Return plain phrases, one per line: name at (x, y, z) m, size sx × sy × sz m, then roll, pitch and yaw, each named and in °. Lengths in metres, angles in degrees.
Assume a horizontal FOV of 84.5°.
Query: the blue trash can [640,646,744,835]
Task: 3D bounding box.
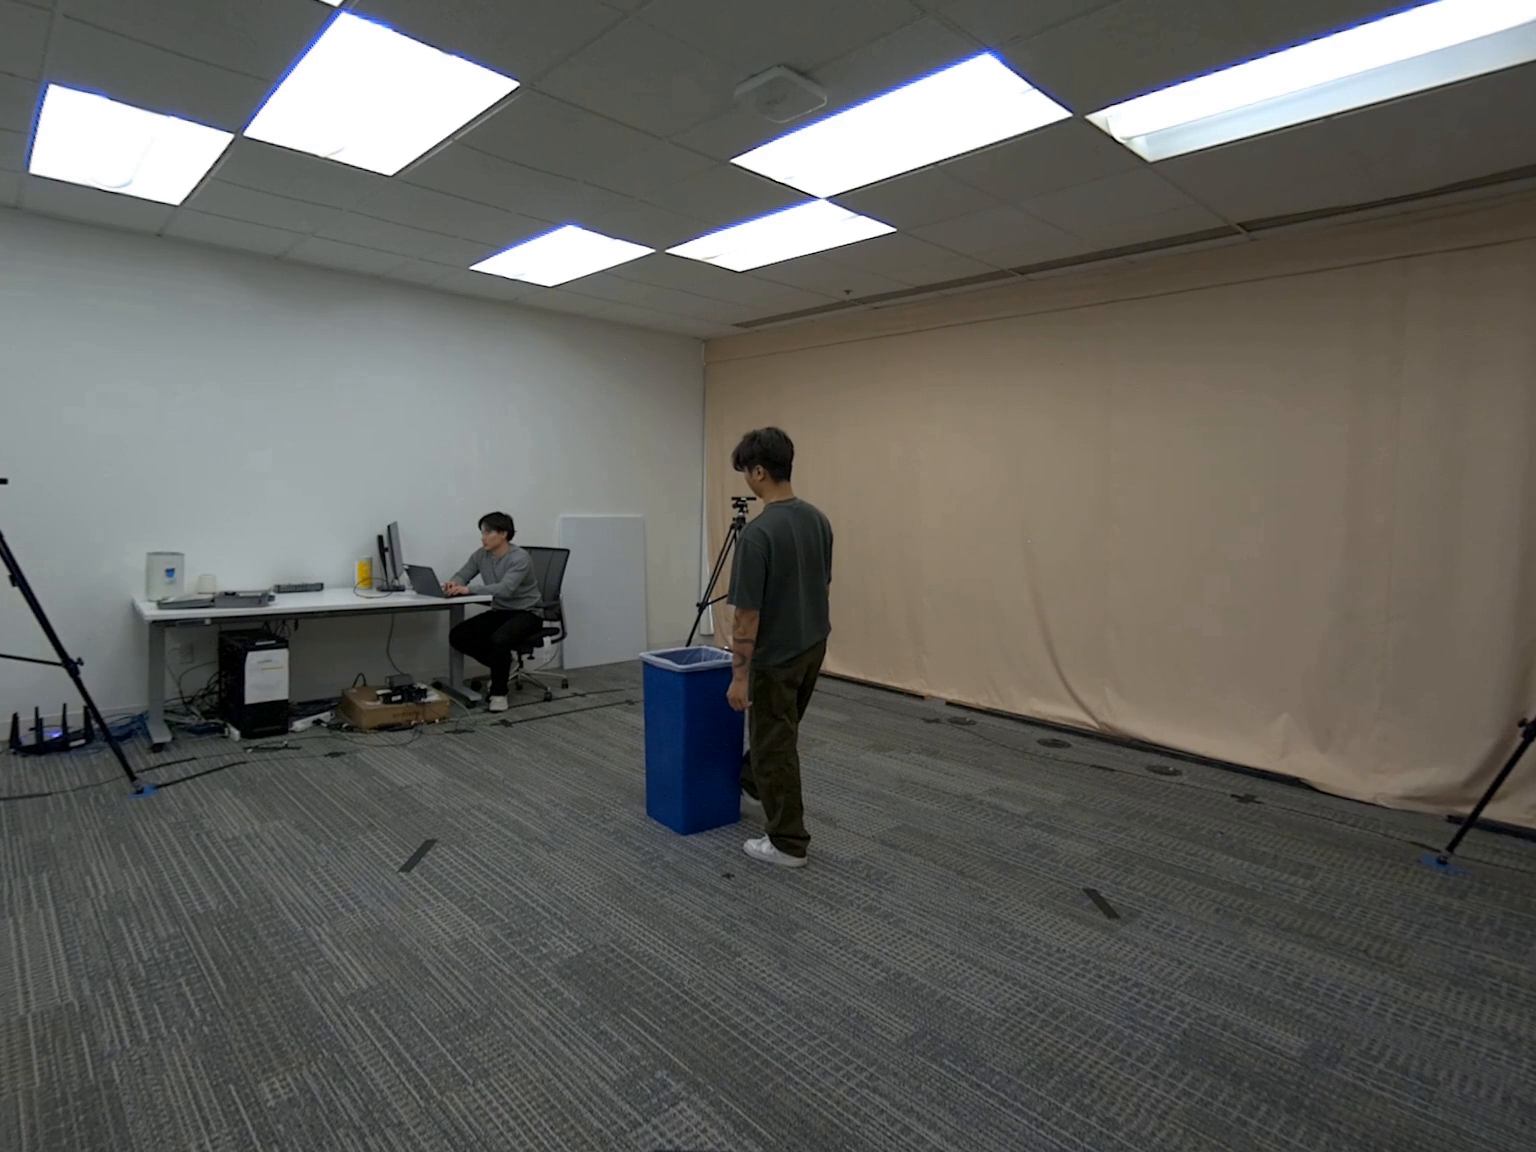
blue trash can at (-0.327, 0.696, 3.648) m, size 0.369 × 0.712 × 0.383 m, roll -2°, pitch 3°, yaw -40°
